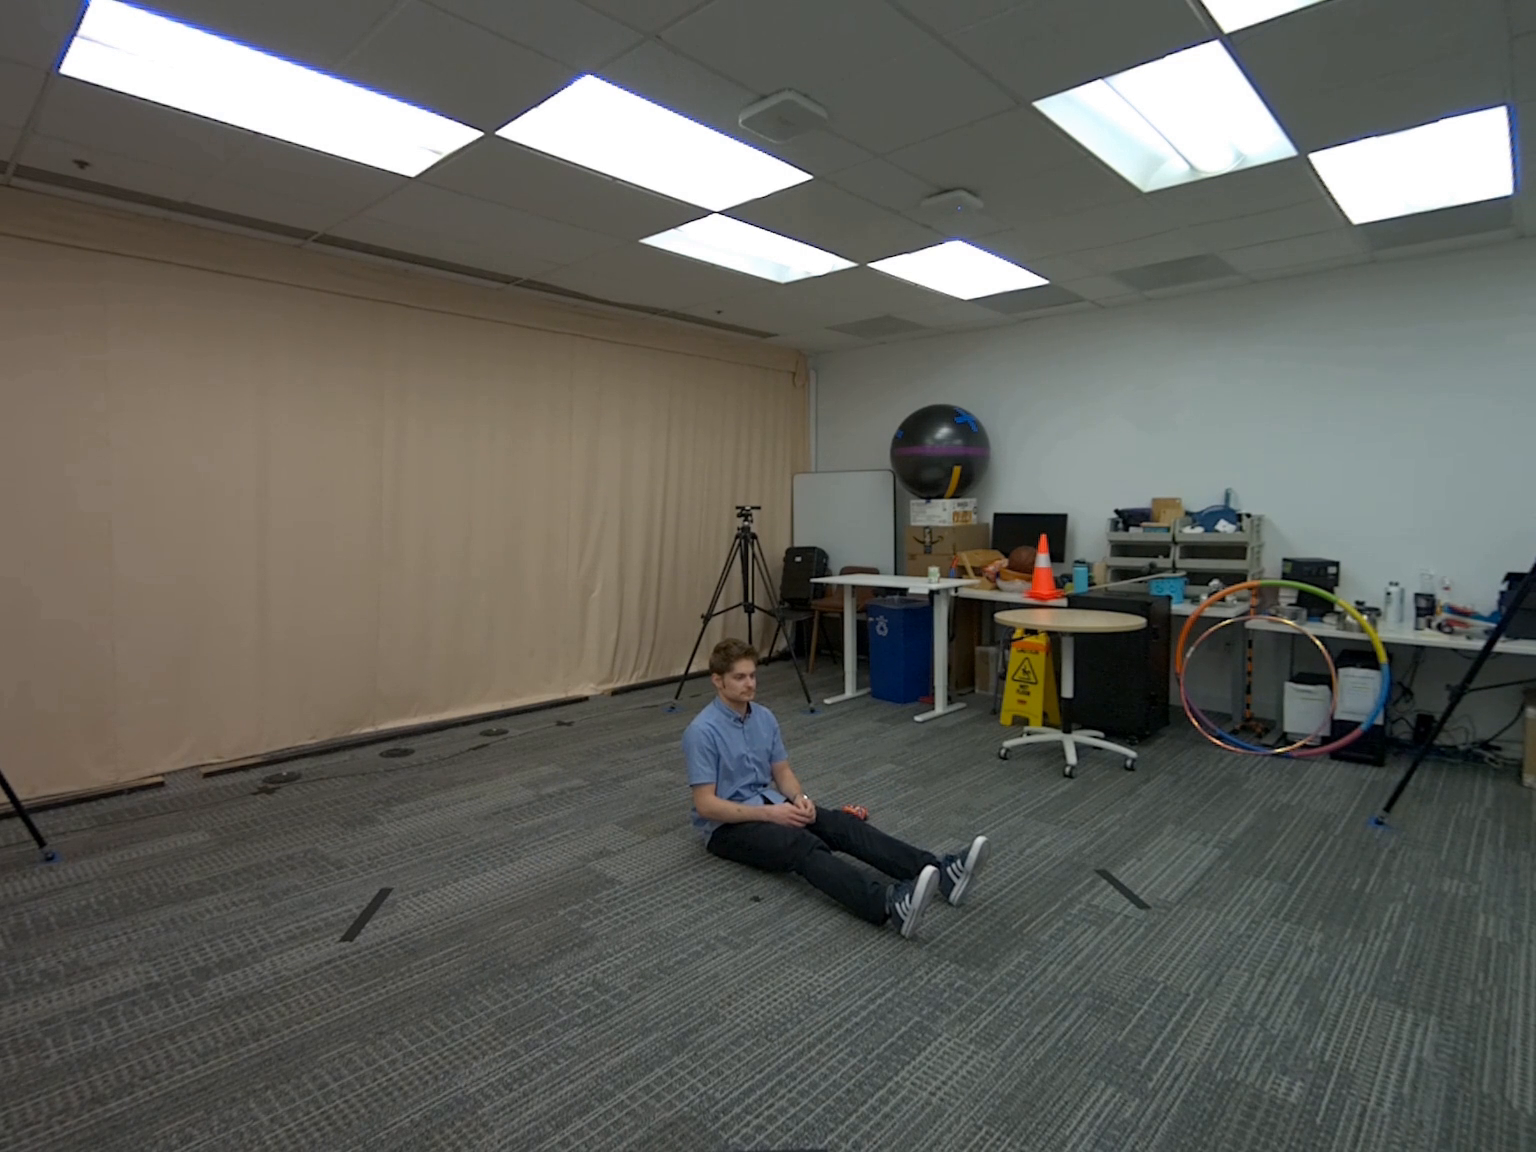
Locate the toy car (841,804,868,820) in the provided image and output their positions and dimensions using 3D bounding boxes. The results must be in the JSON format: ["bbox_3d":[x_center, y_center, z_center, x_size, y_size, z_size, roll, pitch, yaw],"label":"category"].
[{"bbox_3d":[0.366,1.051,3.668,0.133,0.083,0.248,4,-10,17],"label":"toy car"}]
